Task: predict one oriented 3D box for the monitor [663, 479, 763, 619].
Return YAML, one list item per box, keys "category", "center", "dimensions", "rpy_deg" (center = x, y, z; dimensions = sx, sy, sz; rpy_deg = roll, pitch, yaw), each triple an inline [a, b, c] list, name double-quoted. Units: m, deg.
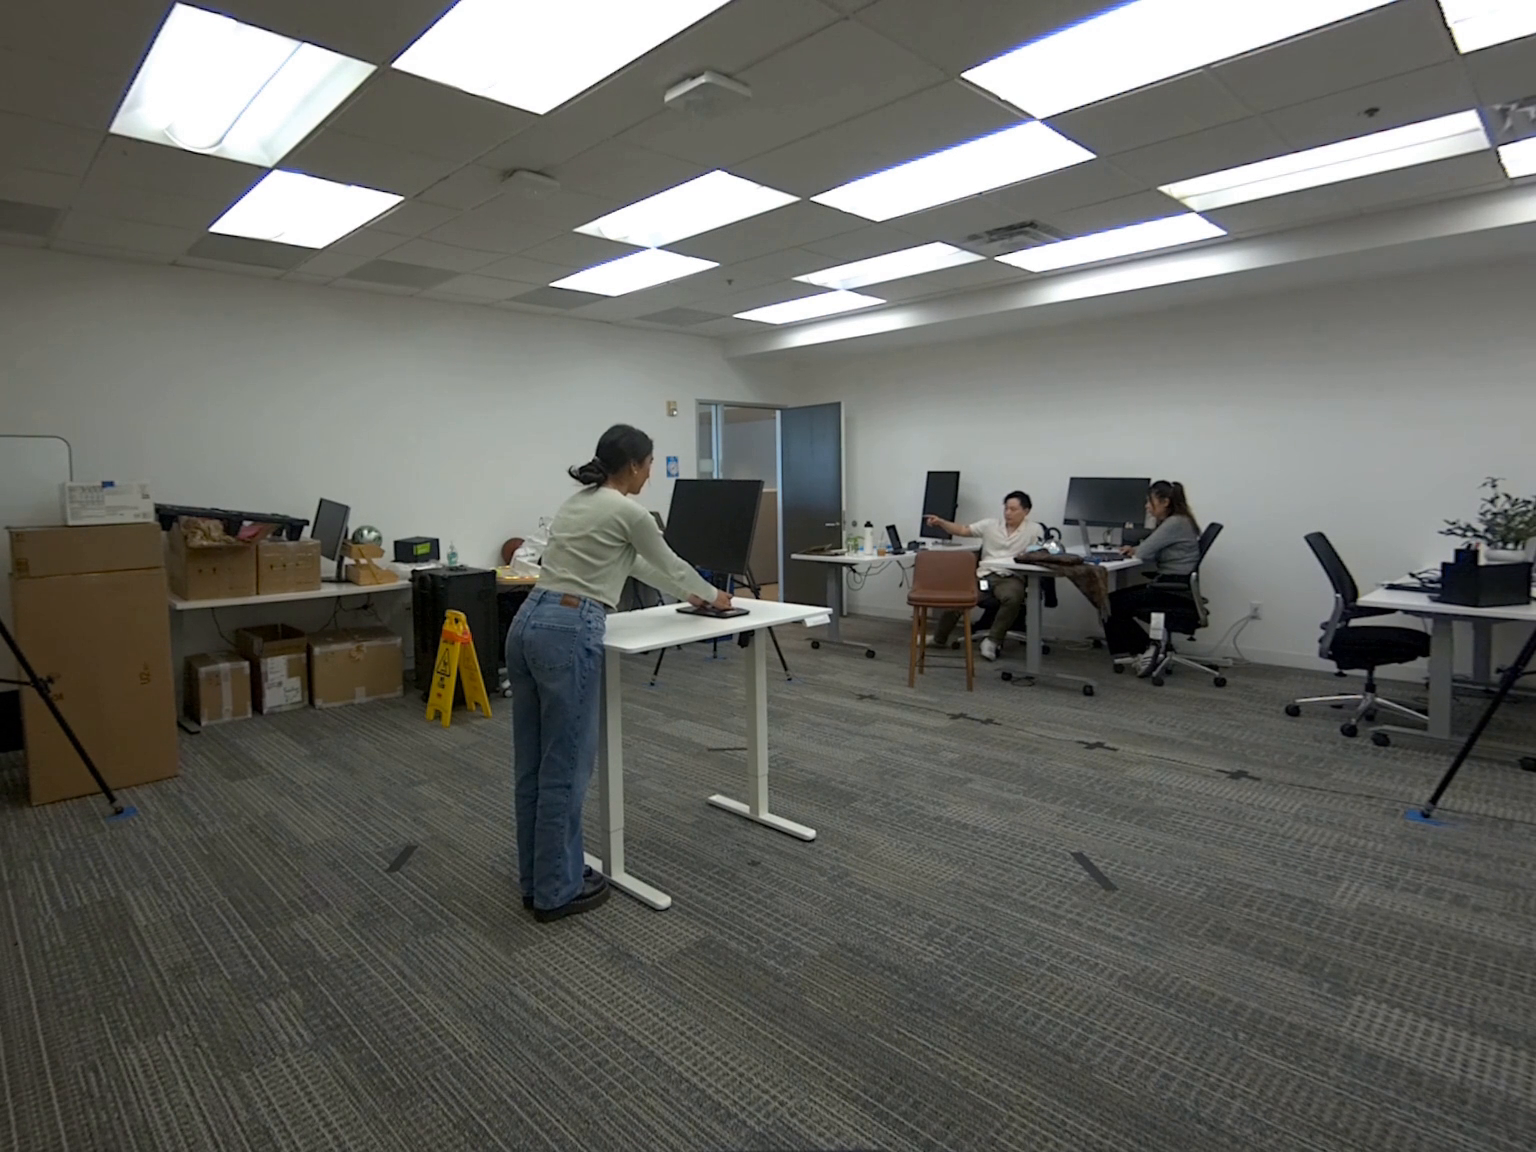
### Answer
- category: "monitor"
  center: [-0.204, -0.110, 3.283]
  dimensions: [0.182, 0.521, 0.556]
  rpy_deg: [-3, 5, -41]
